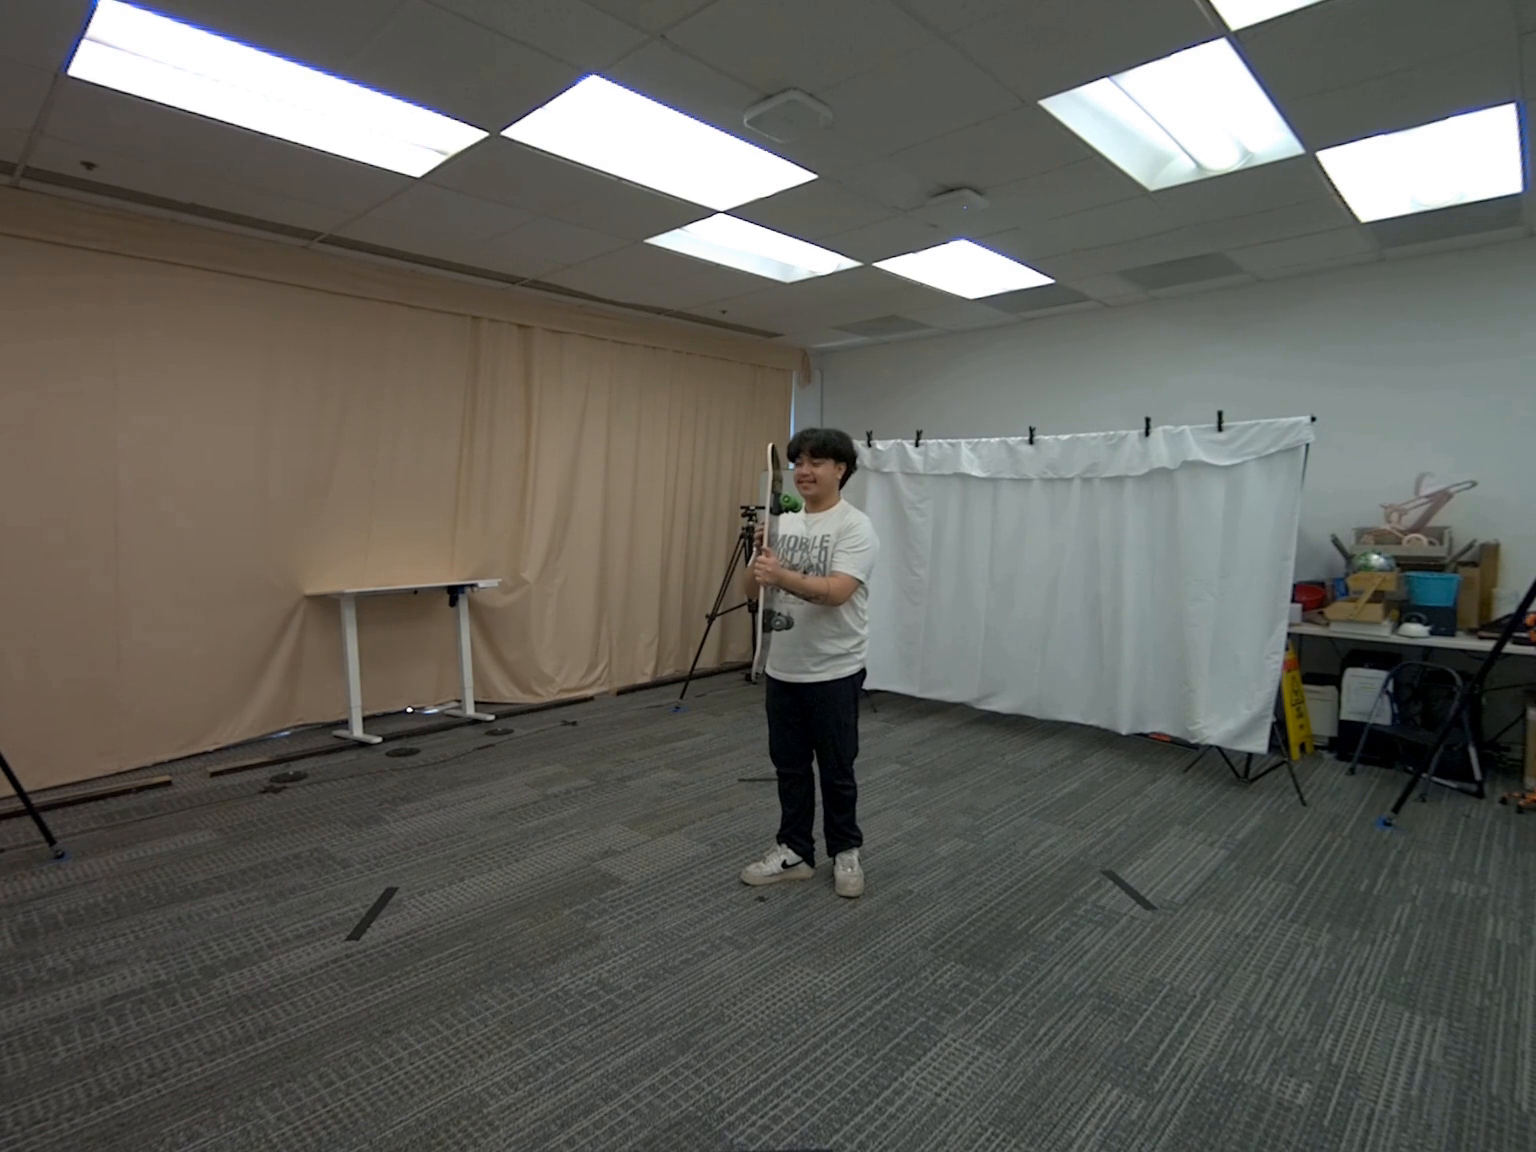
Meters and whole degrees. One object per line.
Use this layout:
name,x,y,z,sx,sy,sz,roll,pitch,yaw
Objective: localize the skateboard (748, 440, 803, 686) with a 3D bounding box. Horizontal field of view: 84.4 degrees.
skateboard,0.032,-0.042,2.789,0.112,0.786,0.190,3,-2,14
